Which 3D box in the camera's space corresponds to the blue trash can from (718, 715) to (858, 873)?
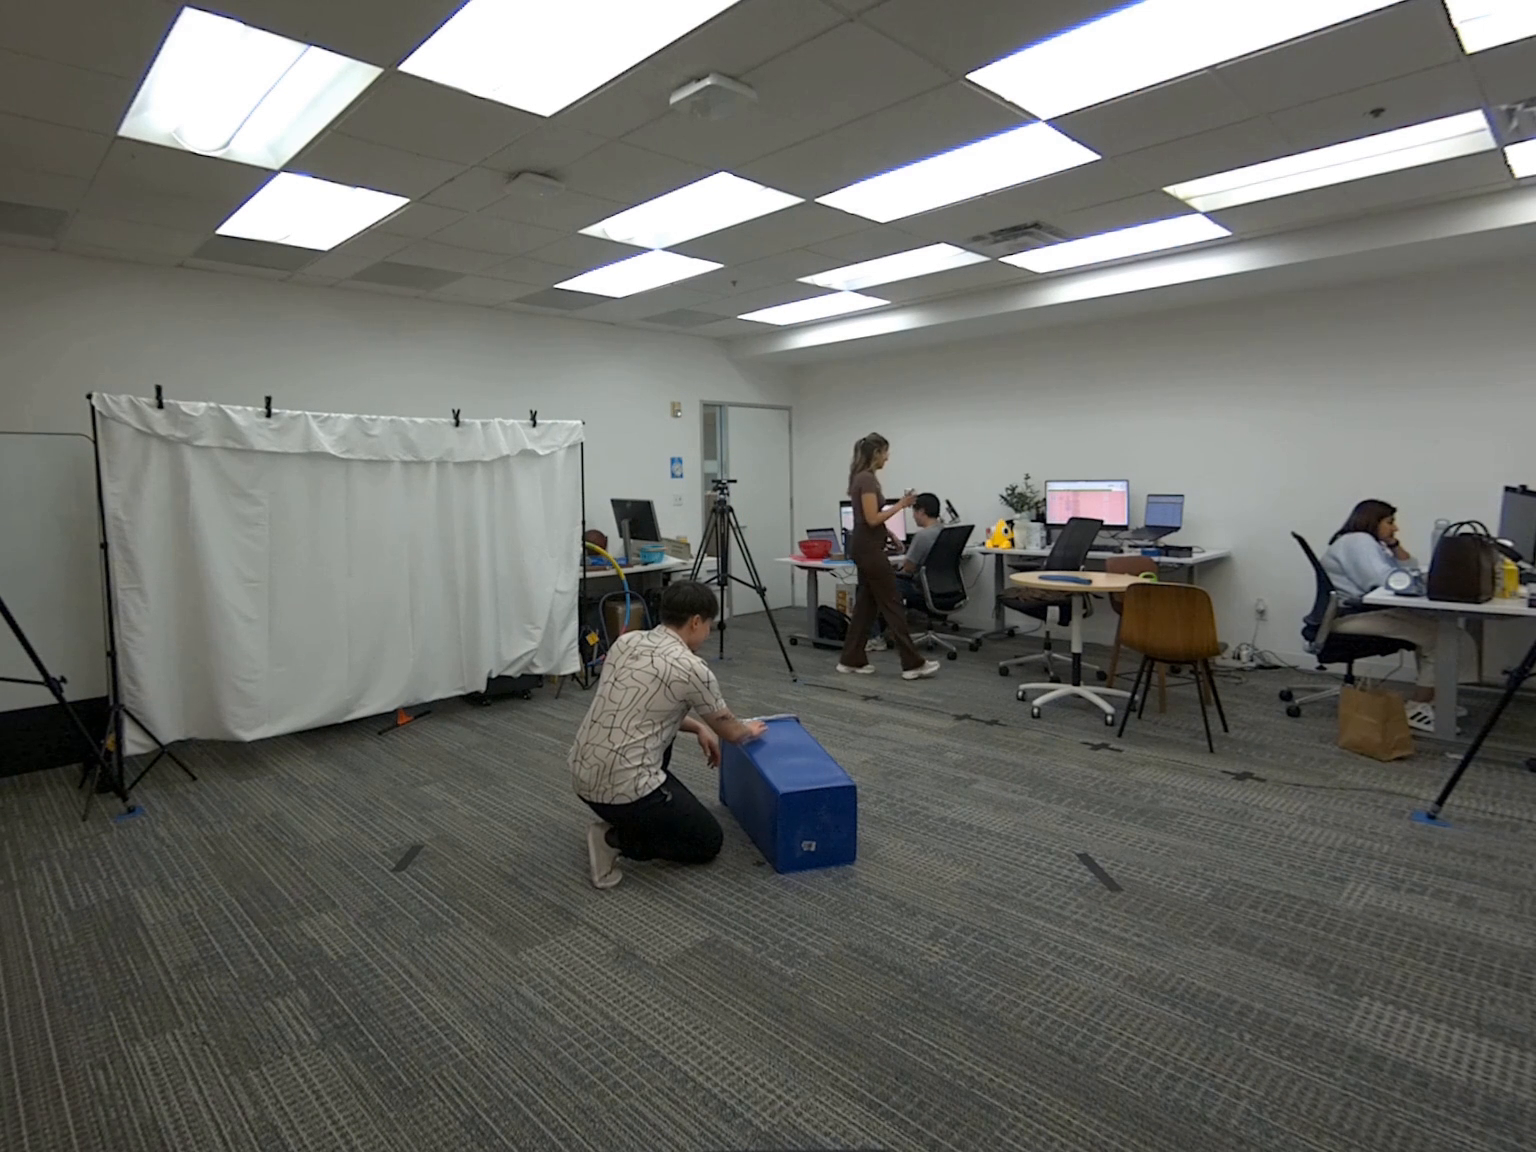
[{"bbox_3d":[0.064,0.848,3.379,0.373,0.371,0.729,-3,9,-16],"label":"blue trash can"}]
